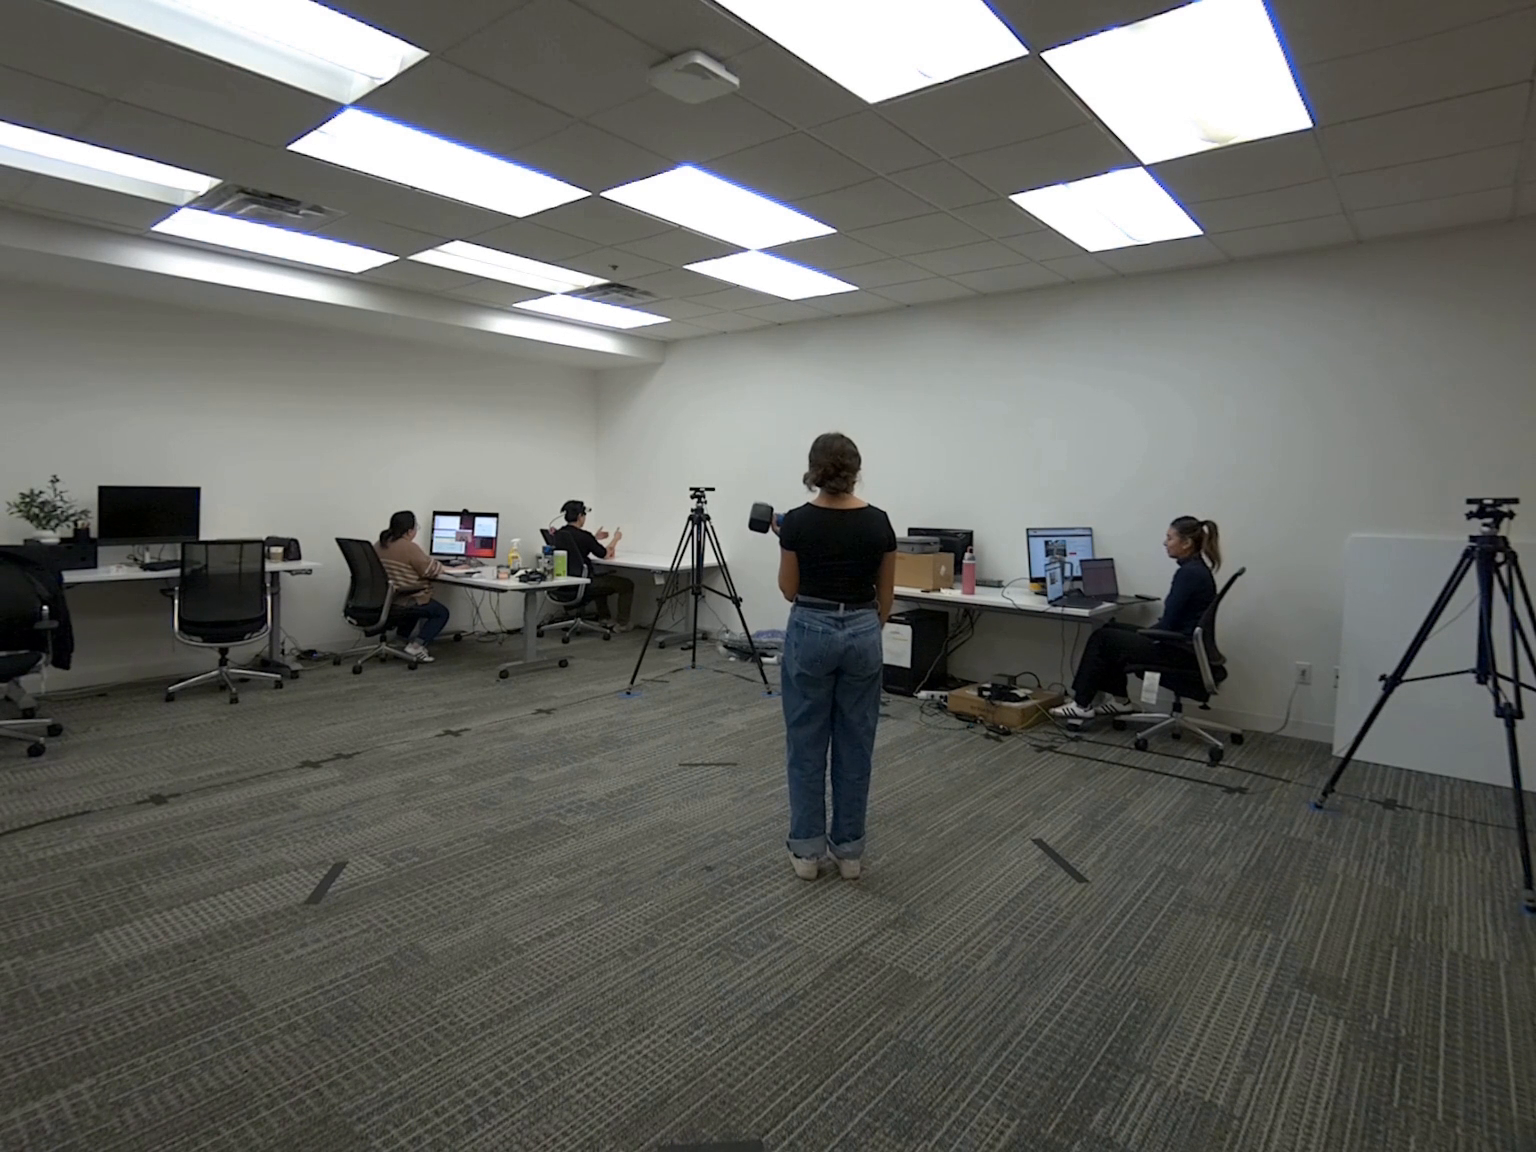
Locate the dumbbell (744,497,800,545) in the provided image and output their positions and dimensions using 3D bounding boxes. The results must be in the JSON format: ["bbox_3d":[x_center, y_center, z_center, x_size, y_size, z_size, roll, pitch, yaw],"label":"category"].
[{"bbox_3d":[0.067,-0.199,3.236,0.293,0.125,0.107,11,-21,-3],"label":"dumbbell"}]
